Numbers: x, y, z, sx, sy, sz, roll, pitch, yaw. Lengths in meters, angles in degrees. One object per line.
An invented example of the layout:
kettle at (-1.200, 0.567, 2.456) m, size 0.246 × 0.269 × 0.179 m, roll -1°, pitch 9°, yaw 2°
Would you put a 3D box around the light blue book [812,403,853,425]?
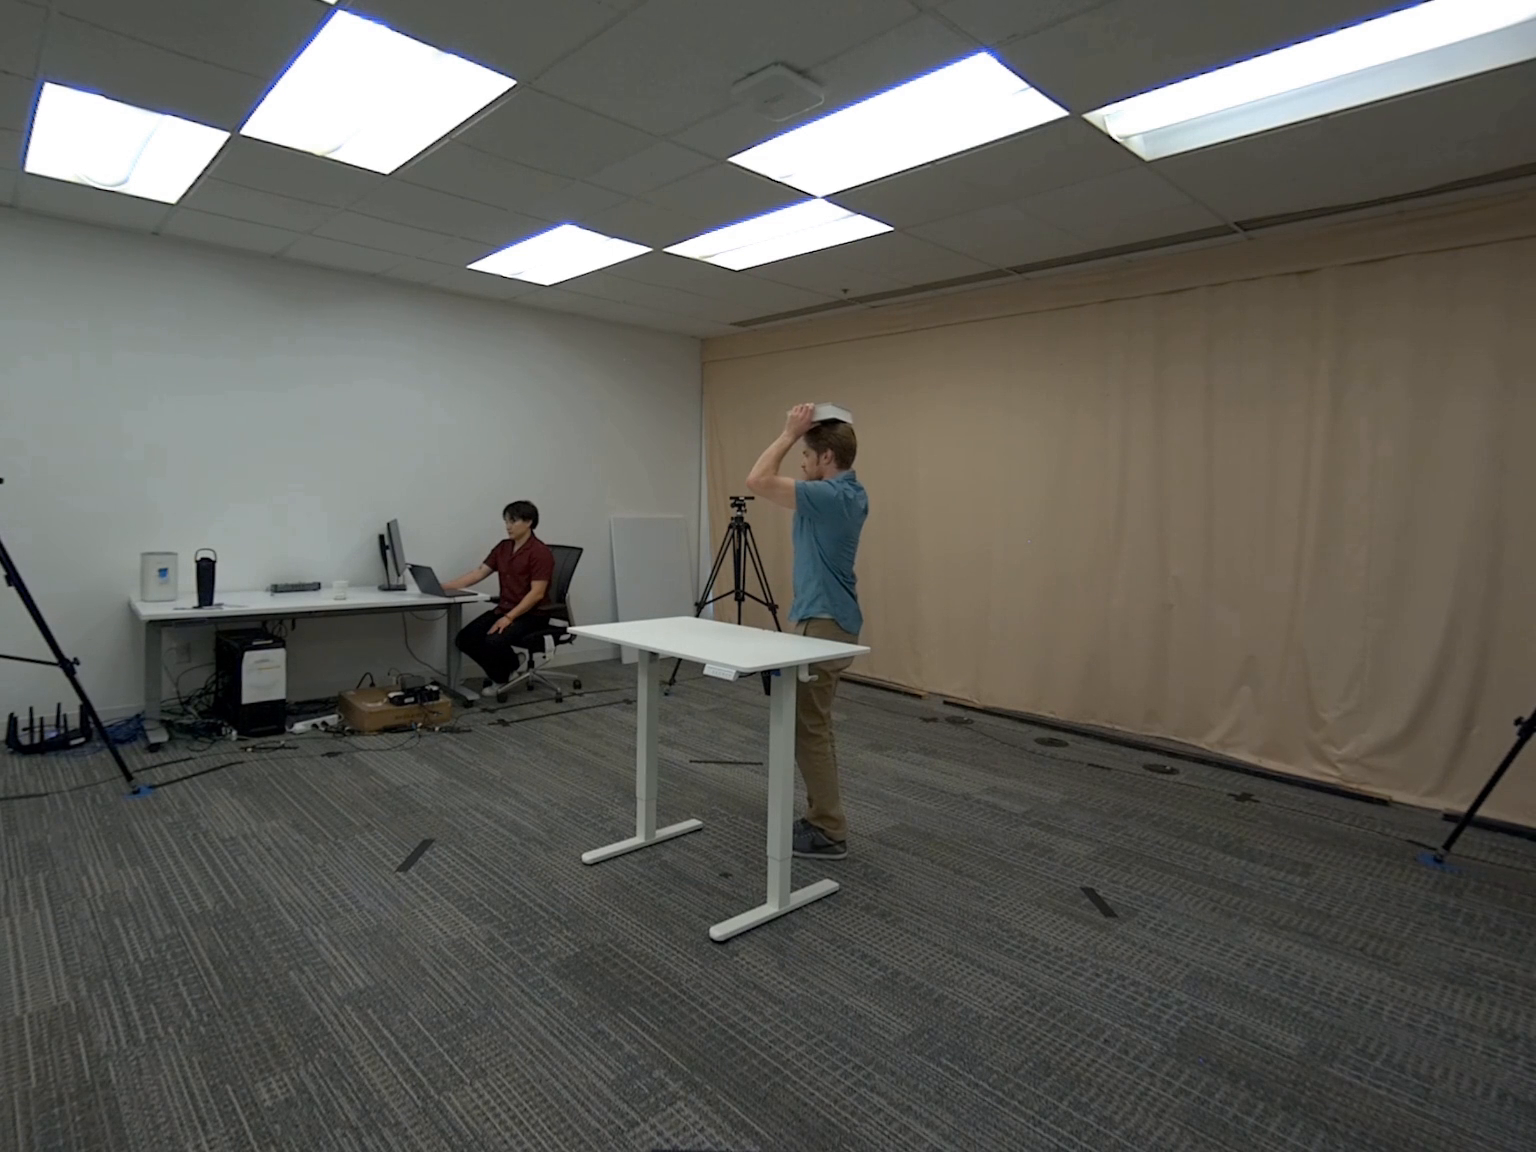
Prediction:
light blue book at (0.207, -0.632, 3.366) m, size 0.195 × 0.059 × 0.256 m, roll -4°, pitch 1°, yaw 25°
